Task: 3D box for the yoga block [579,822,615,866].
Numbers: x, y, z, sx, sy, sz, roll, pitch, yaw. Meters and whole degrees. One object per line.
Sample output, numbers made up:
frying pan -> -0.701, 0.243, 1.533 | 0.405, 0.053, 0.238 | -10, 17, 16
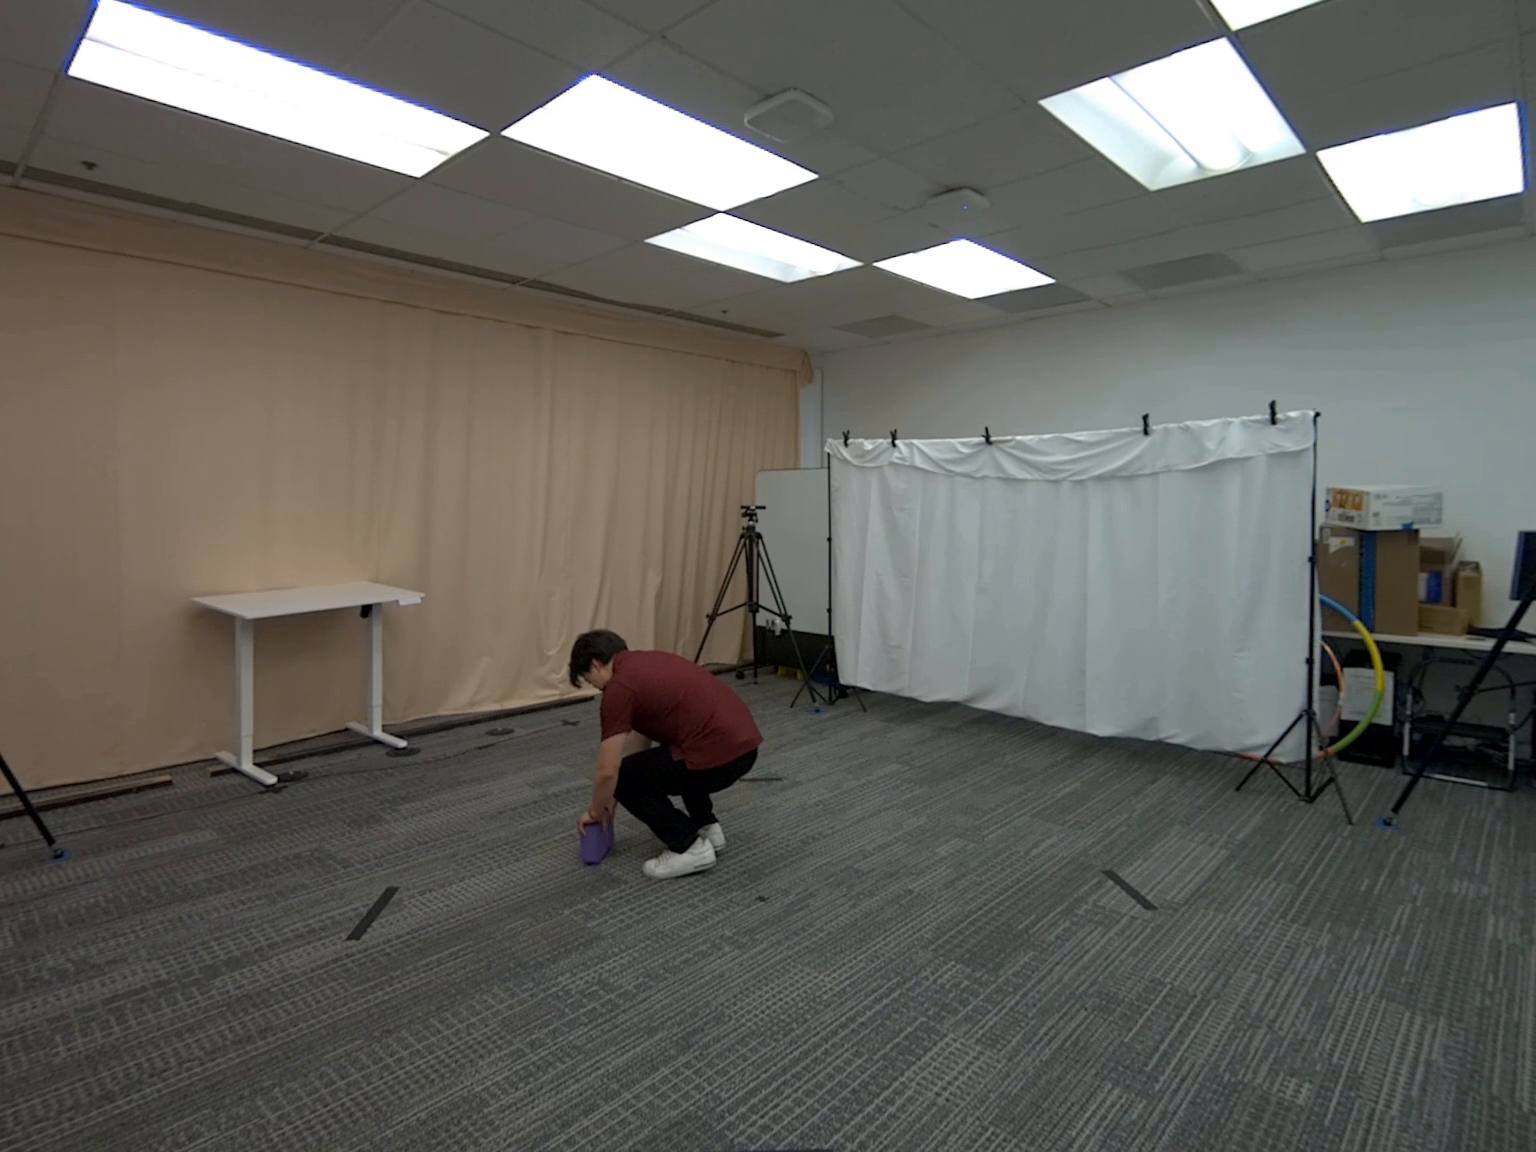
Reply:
yoga block -> -0.681, 1.034, 3.392 | 0.077, 0.149, 0.227 | -1, 2, 7
